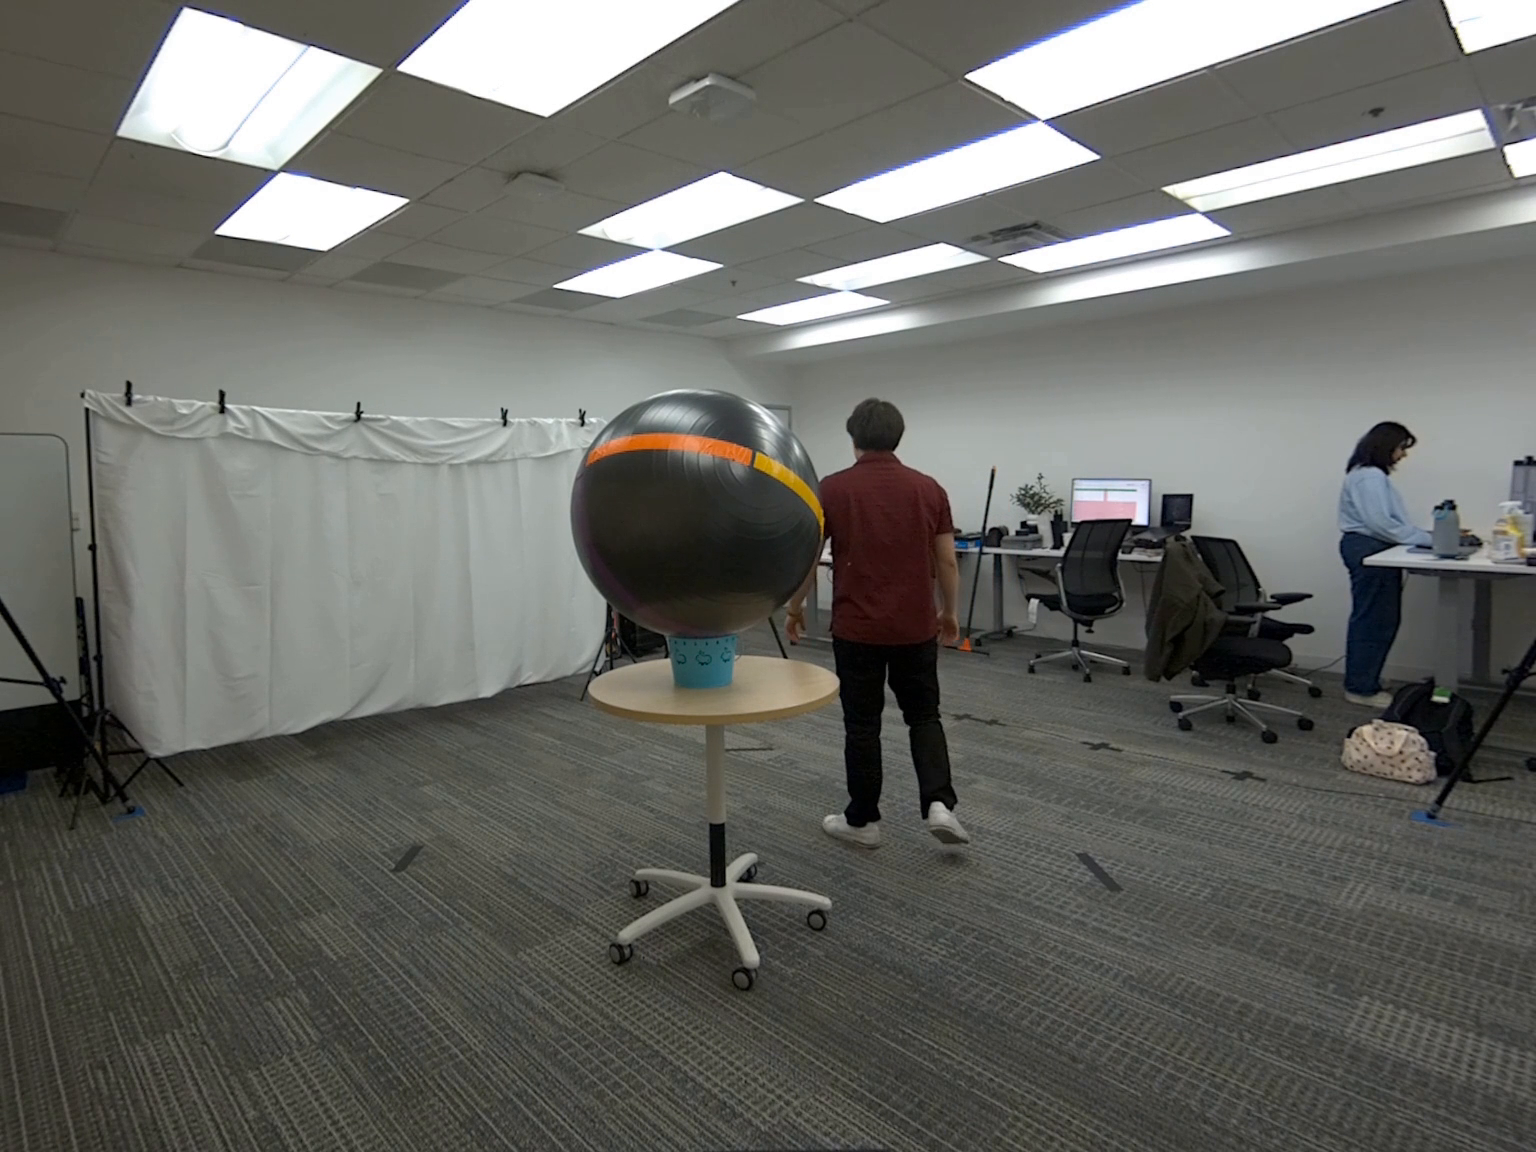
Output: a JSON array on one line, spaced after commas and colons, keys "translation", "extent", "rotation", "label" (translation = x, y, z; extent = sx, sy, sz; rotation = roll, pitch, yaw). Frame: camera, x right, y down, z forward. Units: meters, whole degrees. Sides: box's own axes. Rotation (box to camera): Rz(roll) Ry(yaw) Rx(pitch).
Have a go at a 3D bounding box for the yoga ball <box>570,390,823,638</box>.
[{"translation": [-0.214, -0.180, 2.593], "extent": [0.757, 0.755, 0.762], "rotation": [-1, 5, -2], "label": "yoga ball"}]
